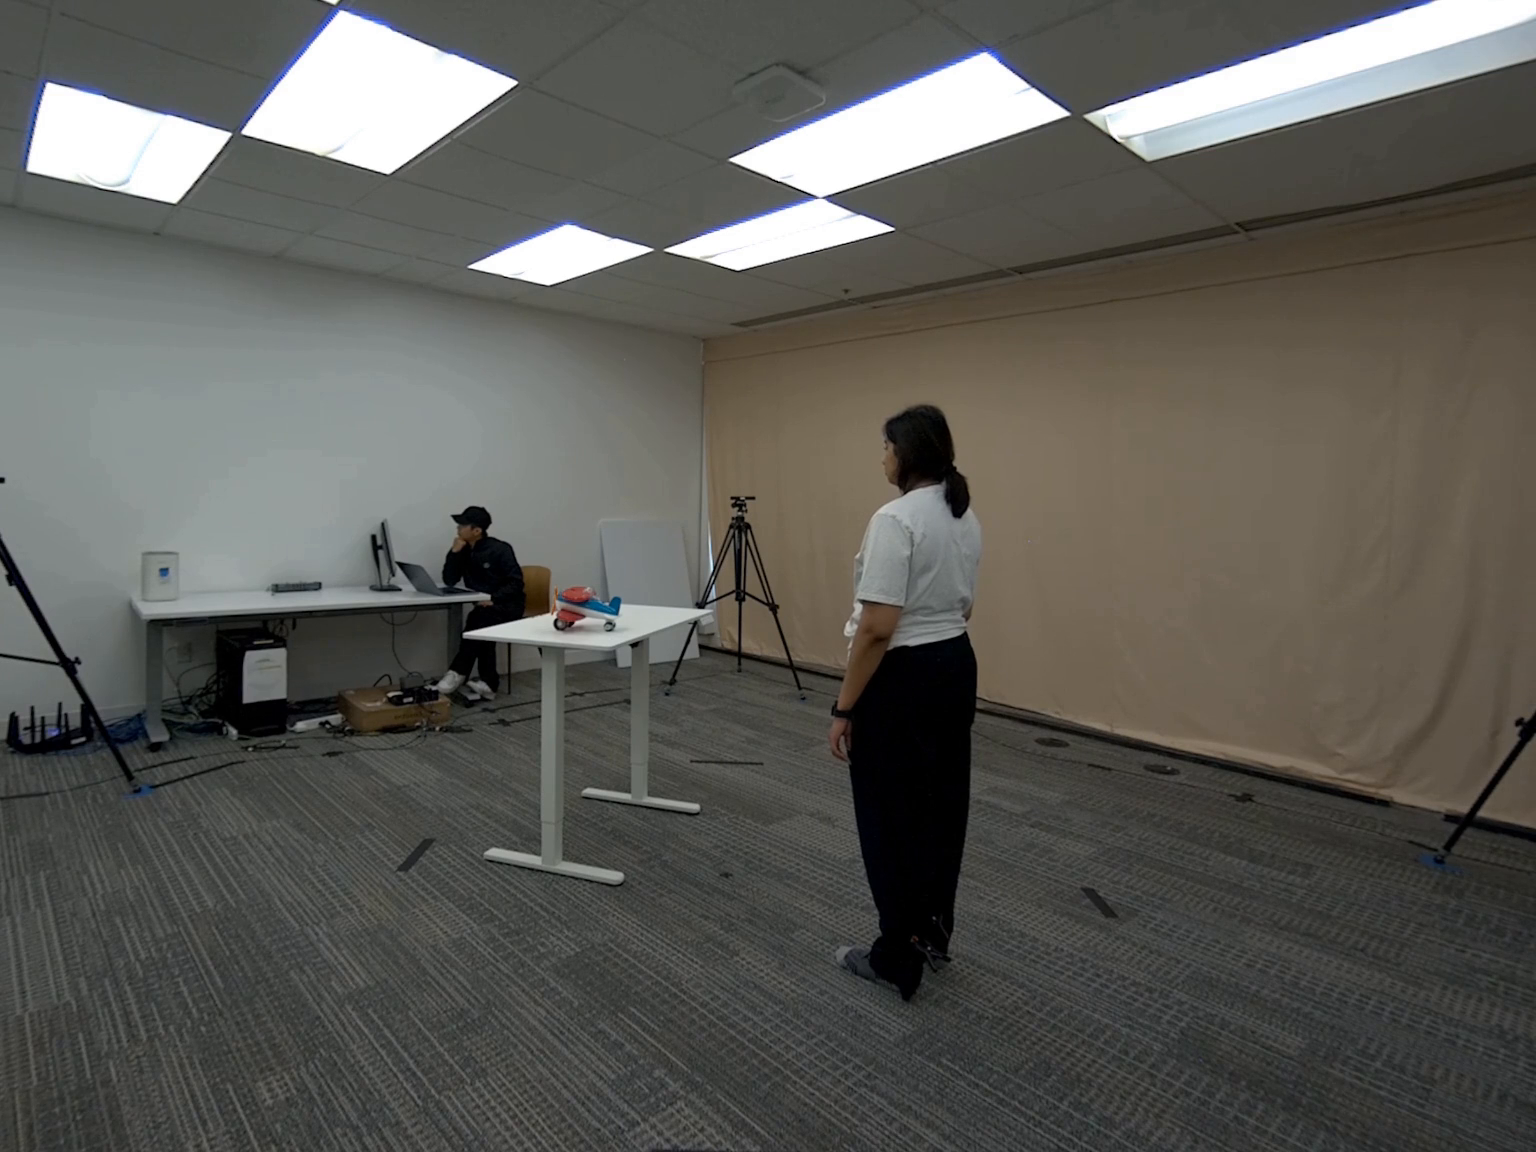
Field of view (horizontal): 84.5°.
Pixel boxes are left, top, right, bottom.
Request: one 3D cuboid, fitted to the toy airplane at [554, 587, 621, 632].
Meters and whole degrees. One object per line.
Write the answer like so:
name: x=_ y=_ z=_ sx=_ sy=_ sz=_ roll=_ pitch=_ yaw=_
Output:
toy airplane: x=-0.706 y=0.124 z=3.195 sx=0.255 sy=0.156 sz=0.255 roll=-2 pitch=4 yaw=-22
